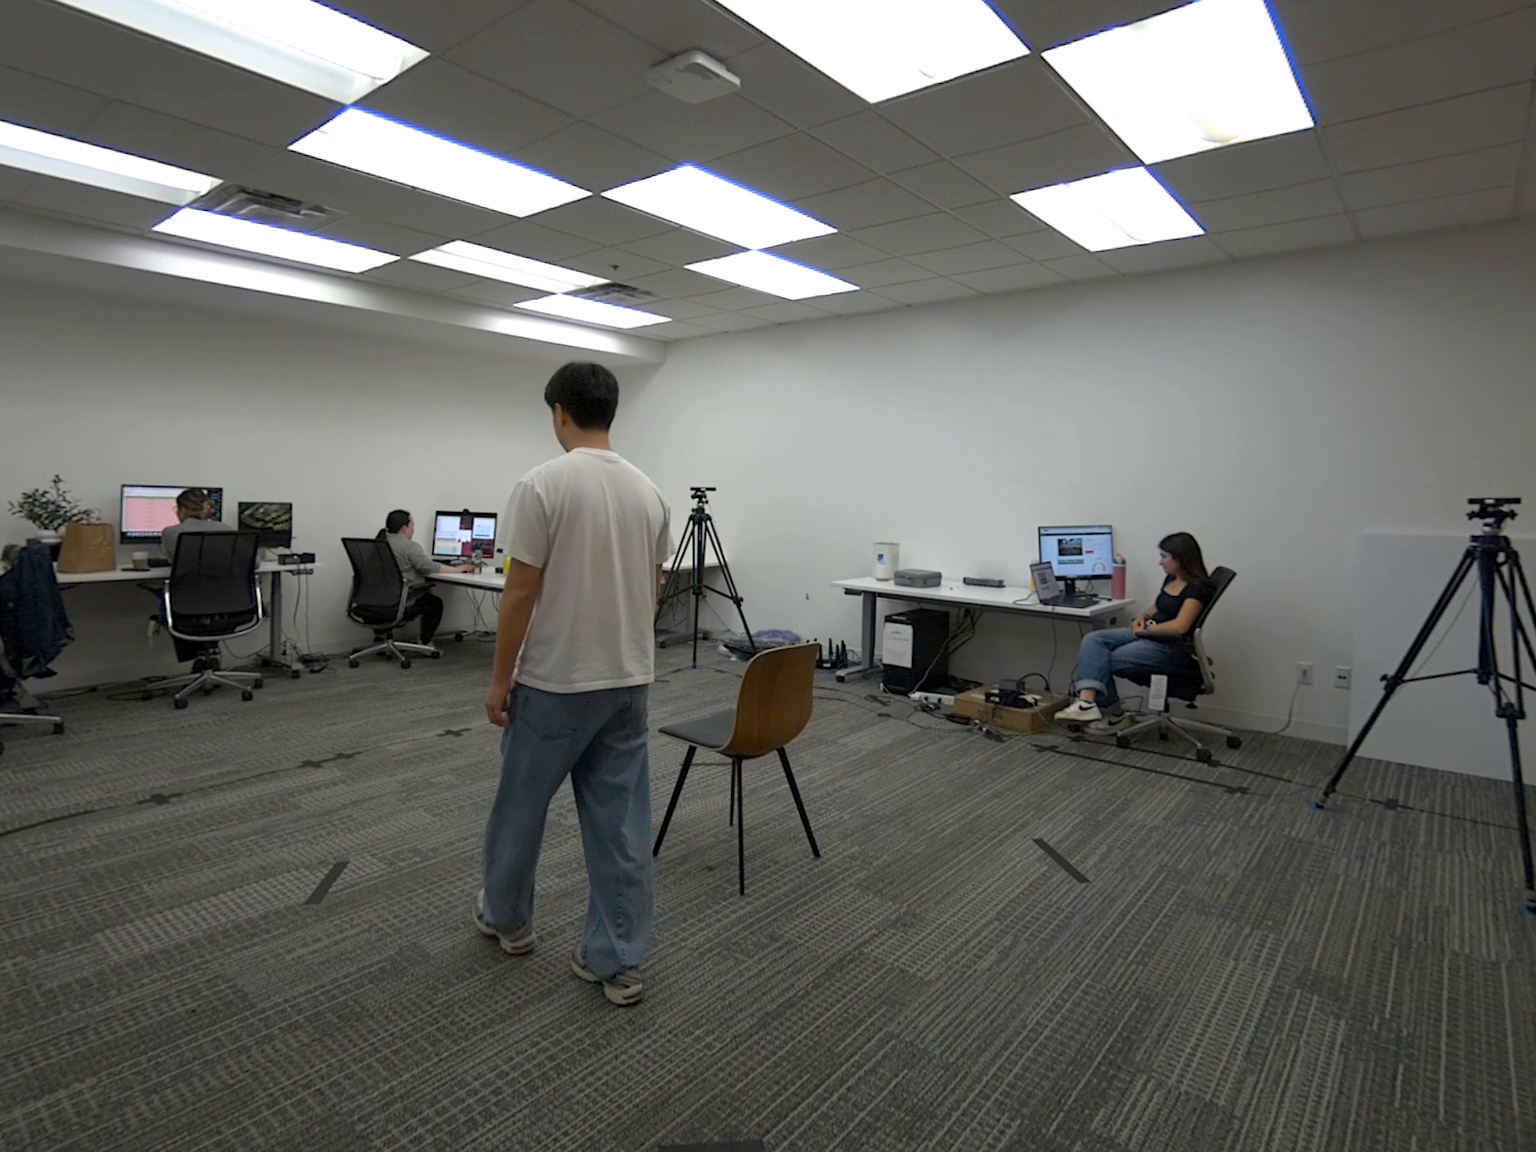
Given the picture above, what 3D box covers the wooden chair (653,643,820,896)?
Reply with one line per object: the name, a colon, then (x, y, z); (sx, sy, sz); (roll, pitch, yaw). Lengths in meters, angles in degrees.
wooden chair: (-0.124, 0.633, 3.193); (0.542, 0.873, 0.463); (10, 8, 41)
